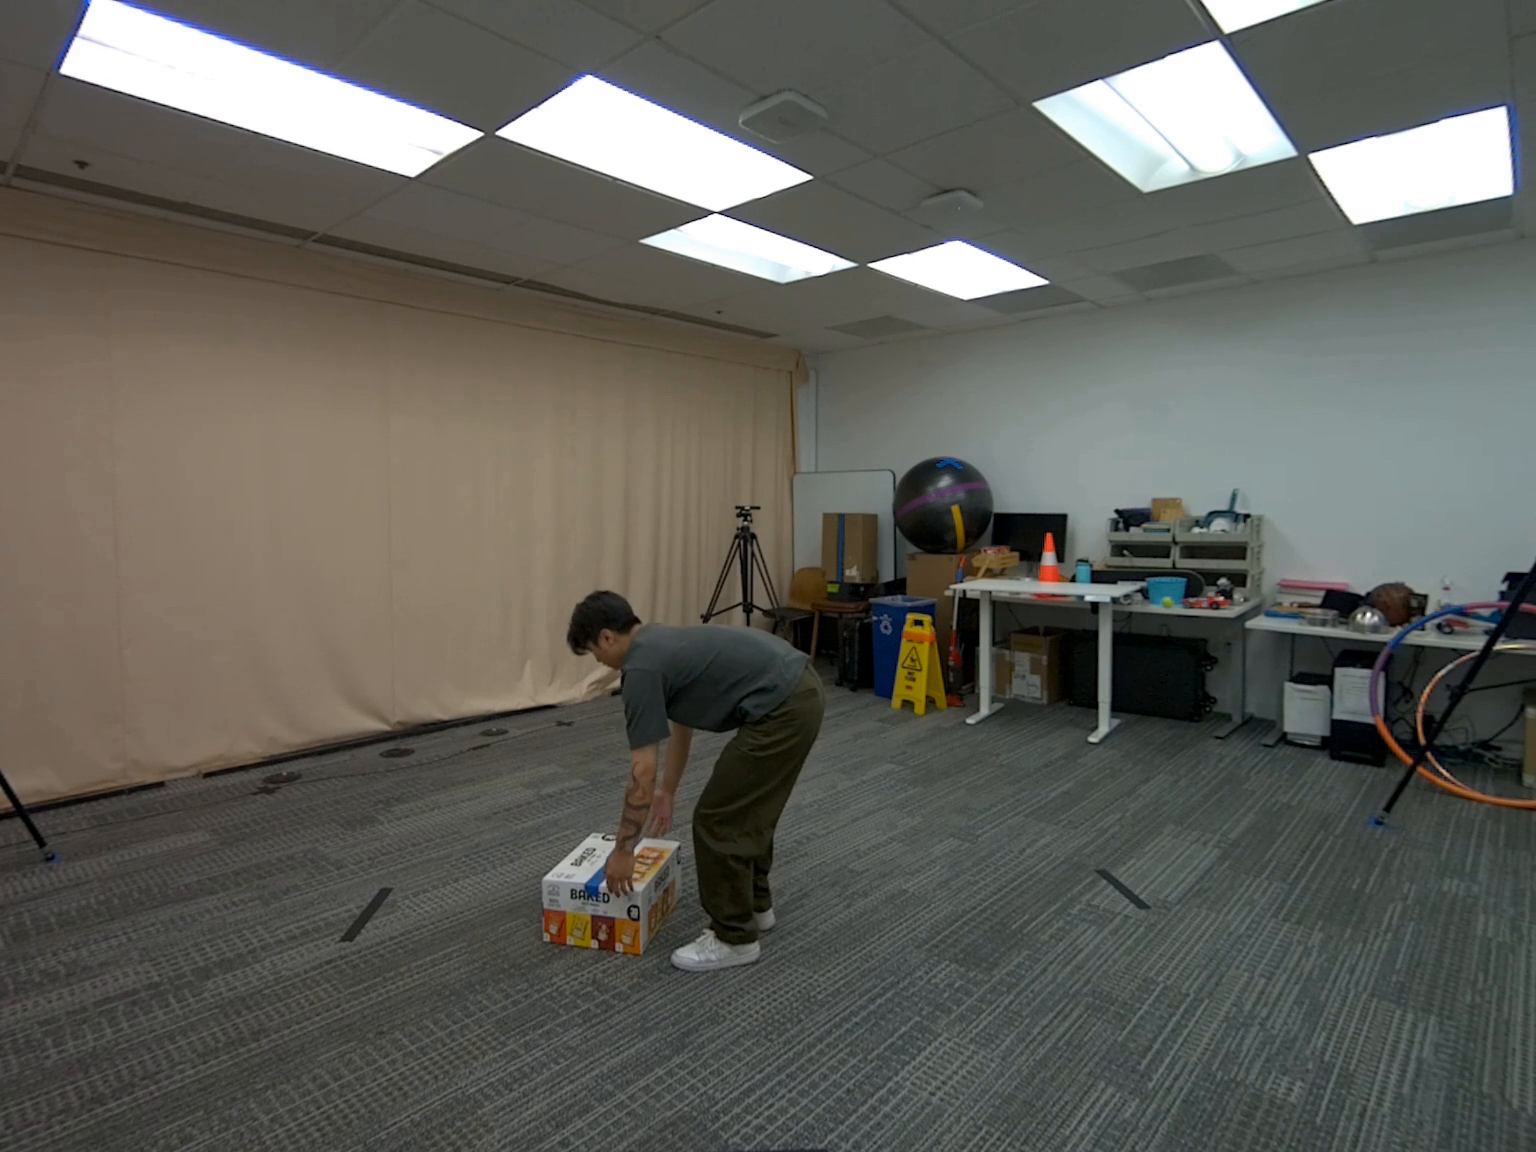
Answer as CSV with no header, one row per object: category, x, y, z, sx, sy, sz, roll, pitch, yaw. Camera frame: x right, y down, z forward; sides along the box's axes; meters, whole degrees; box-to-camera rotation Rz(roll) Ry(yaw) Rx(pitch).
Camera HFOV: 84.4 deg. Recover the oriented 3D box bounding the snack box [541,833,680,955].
snack box,-0.514,1.061,2.831,0.346,0.205,0.400,1,5,13
